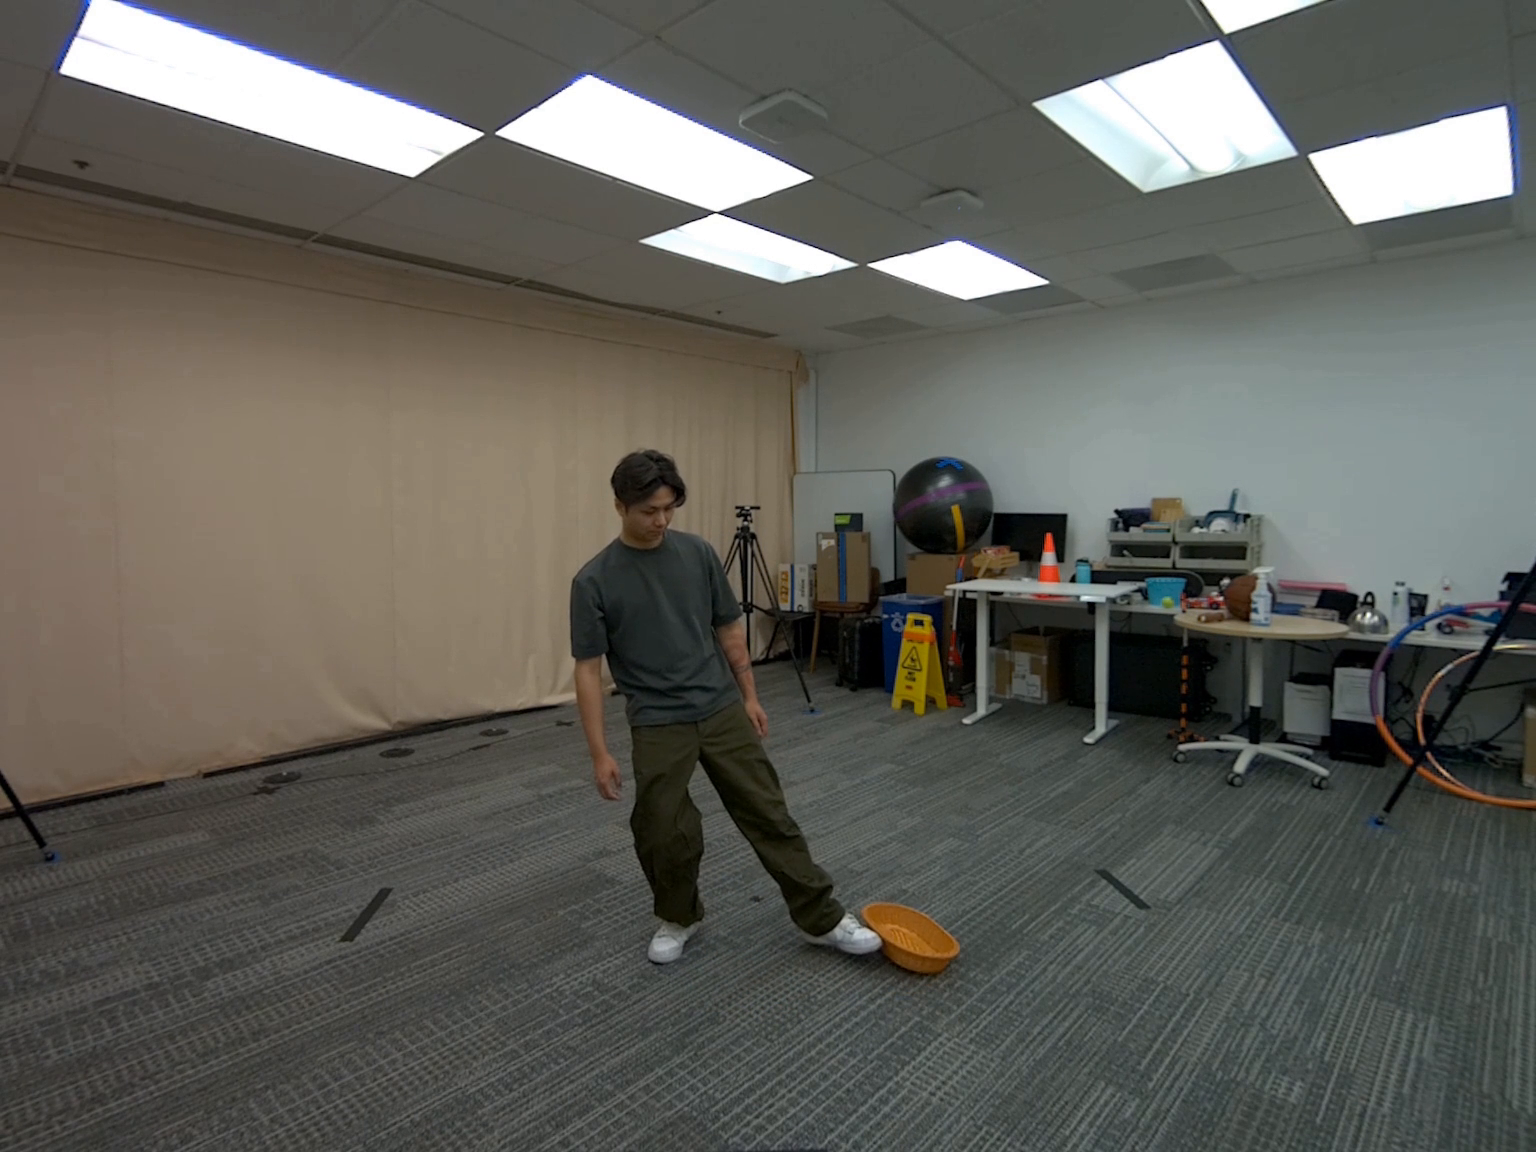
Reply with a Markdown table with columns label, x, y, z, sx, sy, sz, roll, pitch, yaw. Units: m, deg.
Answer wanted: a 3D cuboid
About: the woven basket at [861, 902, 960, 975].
| label | x | y | z | sx | sy | sz | roll | pitch | yaw |
| --- | --- | --- | --- | --- | --- | --- | --- | --- | --- |
| woven basket | 0.435 | 1.125 | 2.604 | 0.247 | 0.073 | 0.358 | 8 | 1 | -20 |
